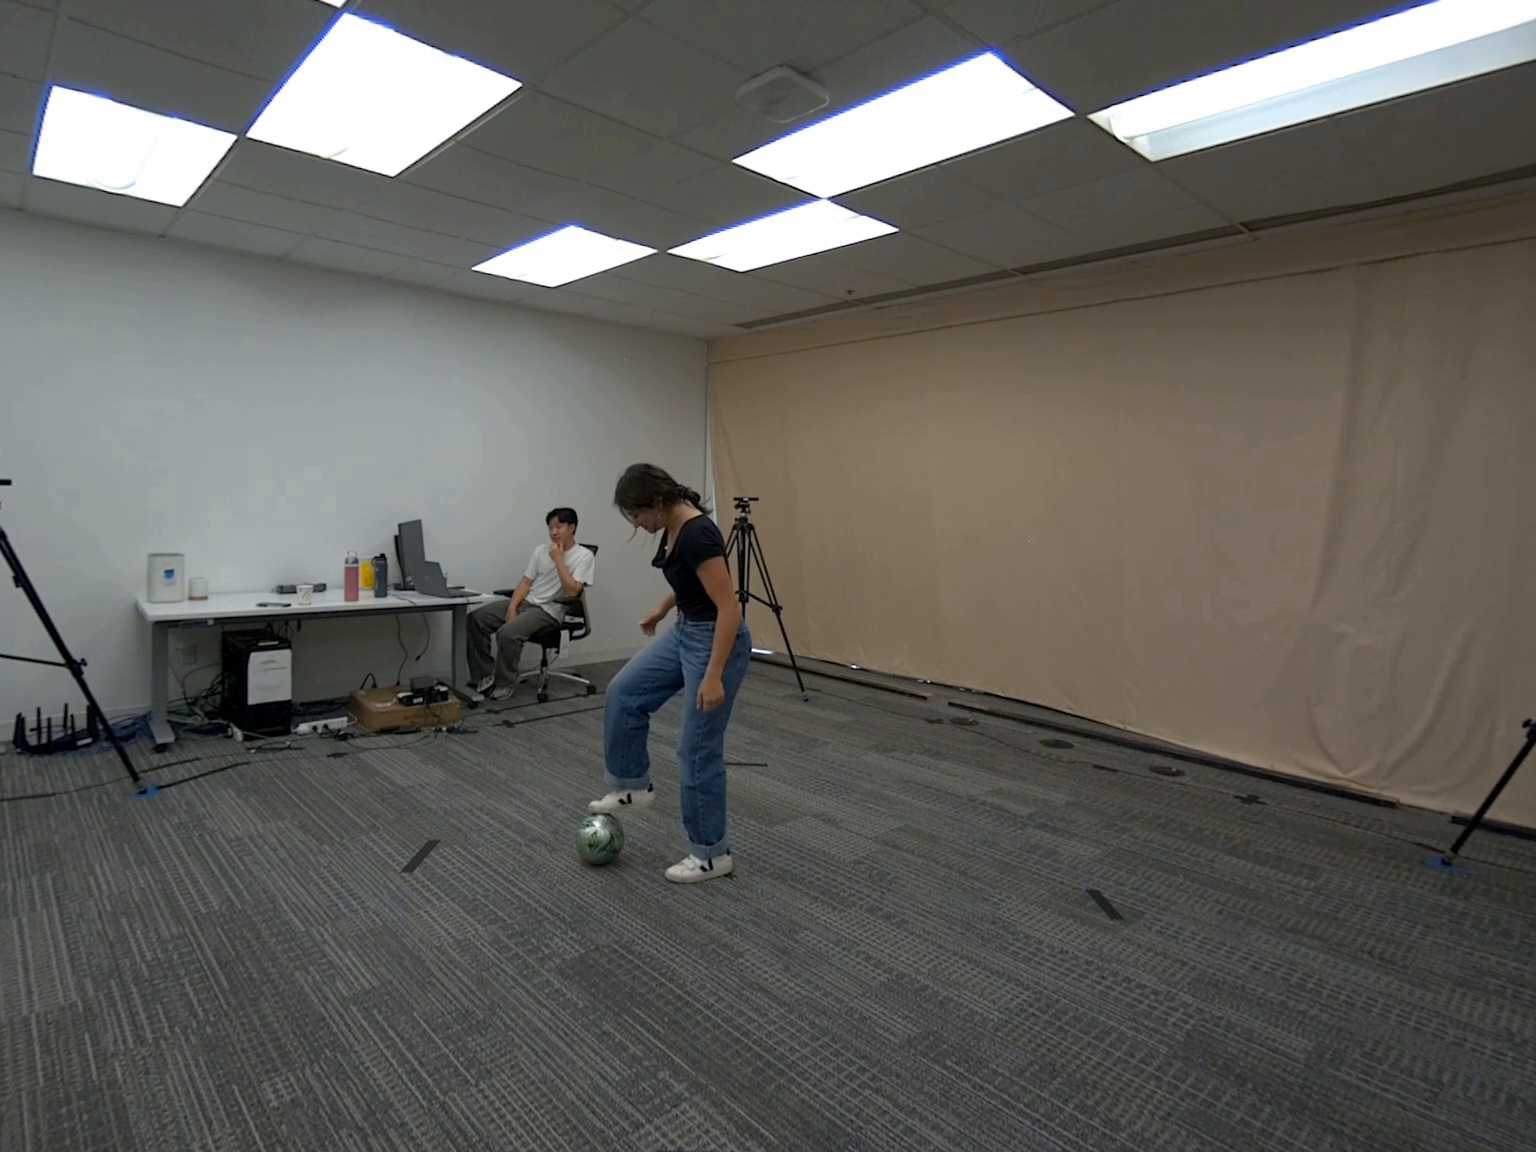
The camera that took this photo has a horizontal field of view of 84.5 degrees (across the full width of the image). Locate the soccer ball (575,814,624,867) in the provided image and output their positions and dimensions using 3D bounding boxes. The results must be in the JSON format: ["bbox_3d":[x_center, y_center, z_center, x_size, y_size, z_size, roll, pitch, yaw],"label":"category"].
[{"bbox_3d":[-0.614,0.990,3.193,0.187,0.187,0.188,1,4,-1],"label":"soccer ball"}]
